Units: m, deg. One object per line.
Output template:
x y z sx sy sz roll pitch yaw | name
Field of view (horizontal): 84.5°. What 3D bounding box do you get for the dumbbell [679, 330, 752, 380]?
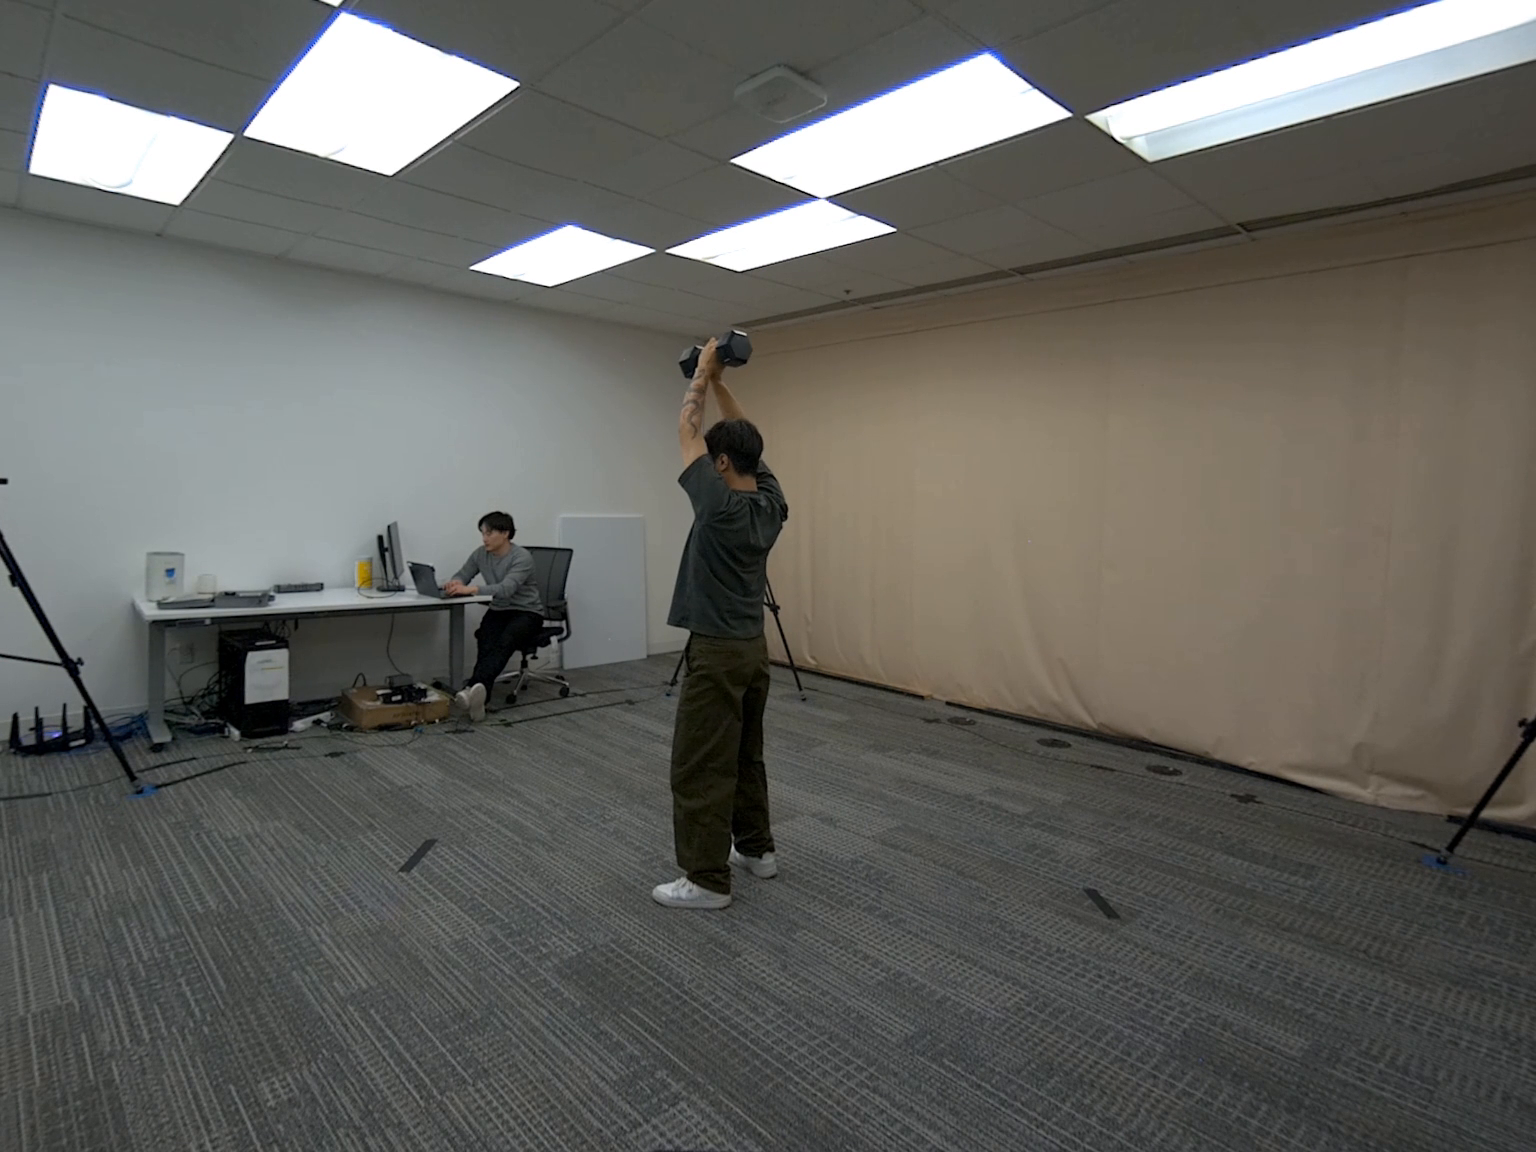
-0.197 -0.781 2.974 0.108 0.121 0.300 -36 20 -36 | dumbbell
